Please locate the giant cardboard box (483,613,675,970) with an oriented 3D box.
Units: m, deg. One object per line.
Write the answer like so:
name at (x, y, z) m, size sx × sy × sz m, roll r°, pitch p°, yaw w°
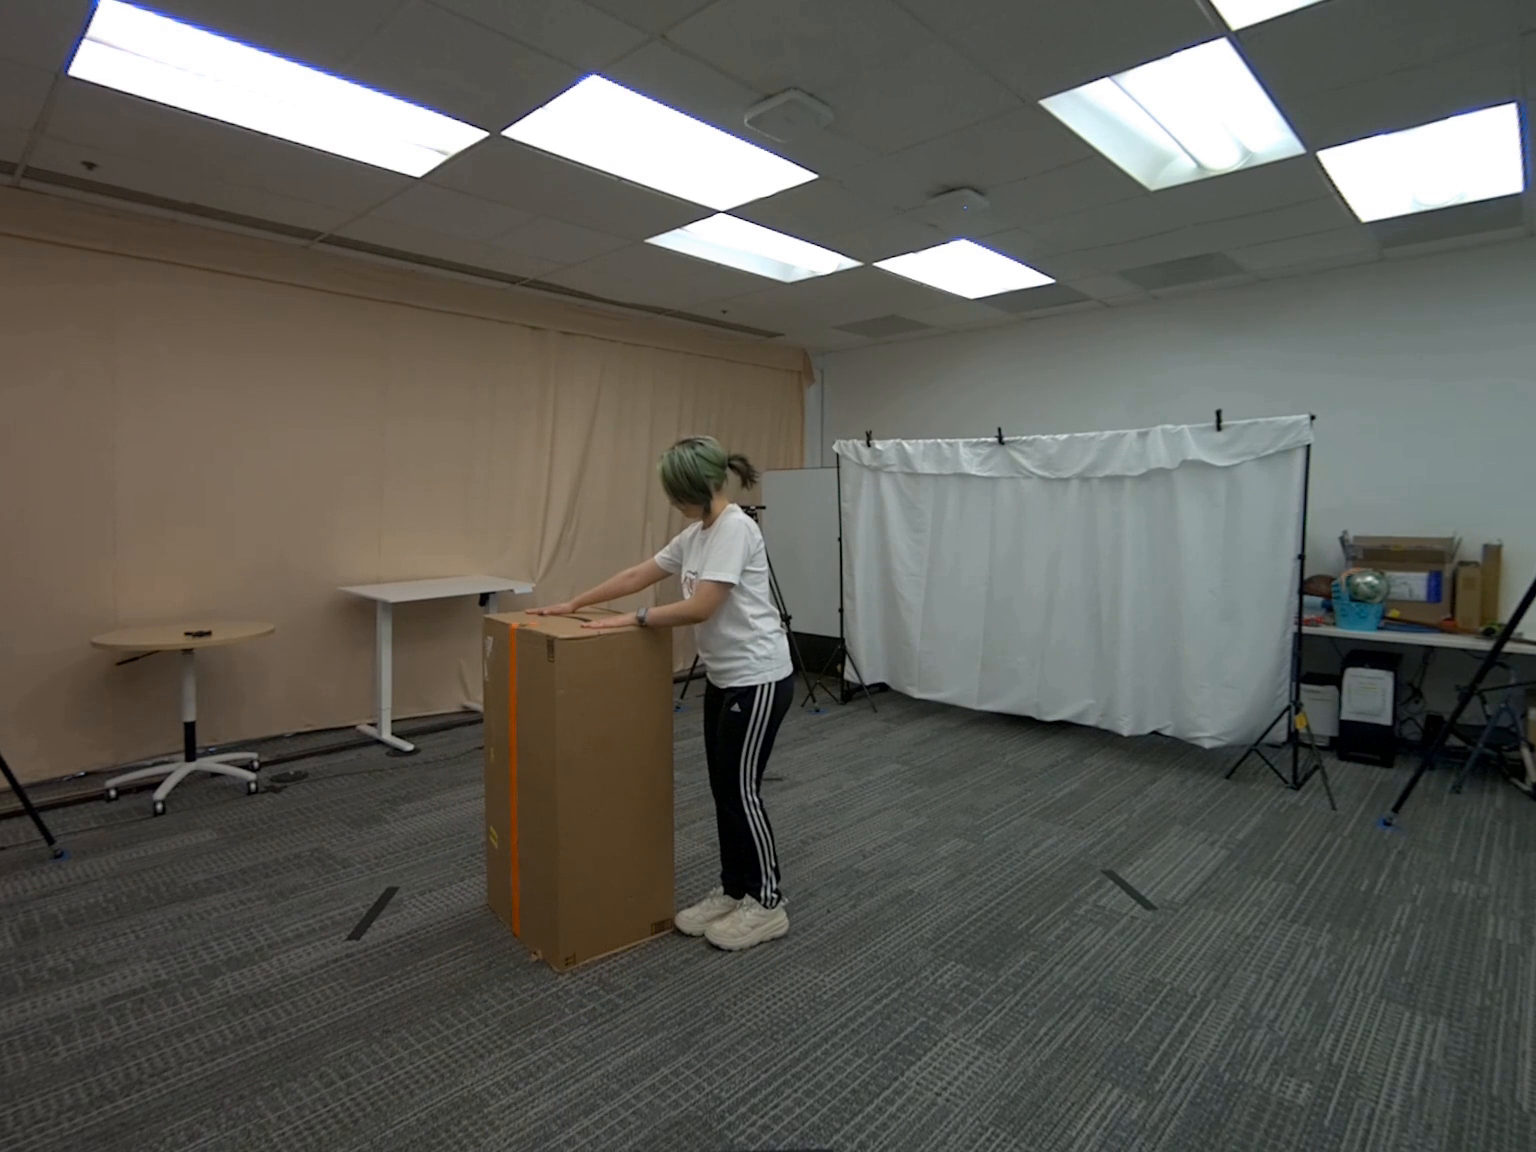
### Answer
giant cardboard box at (-0.653, 0.659, 2.834) m, size 0.433 × 1.025 × 0.603 m, roll -2°, pitch 4°, yaw -39°
